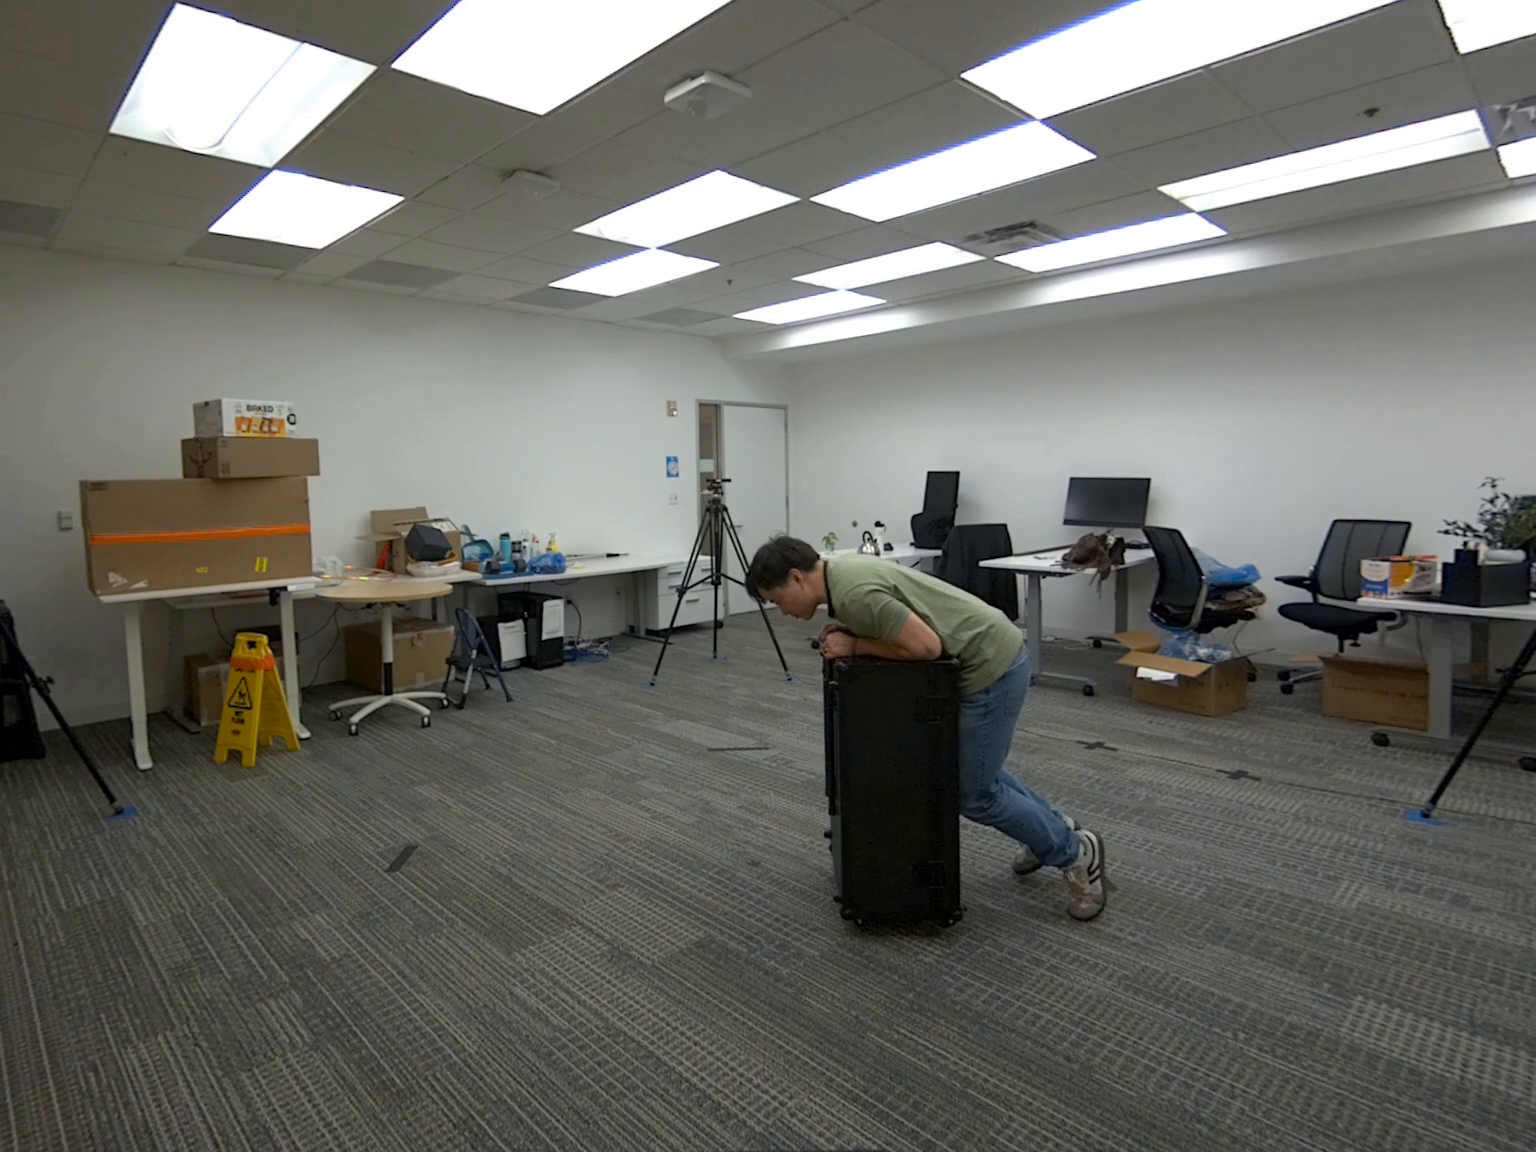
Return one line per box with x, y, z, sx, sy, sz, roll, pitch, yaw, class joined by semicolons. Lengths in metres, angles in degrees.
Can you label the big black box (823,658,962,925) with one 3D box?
0.386;0.656;2.759;0.397;0.858;0.522;-3;4;2;big black box
